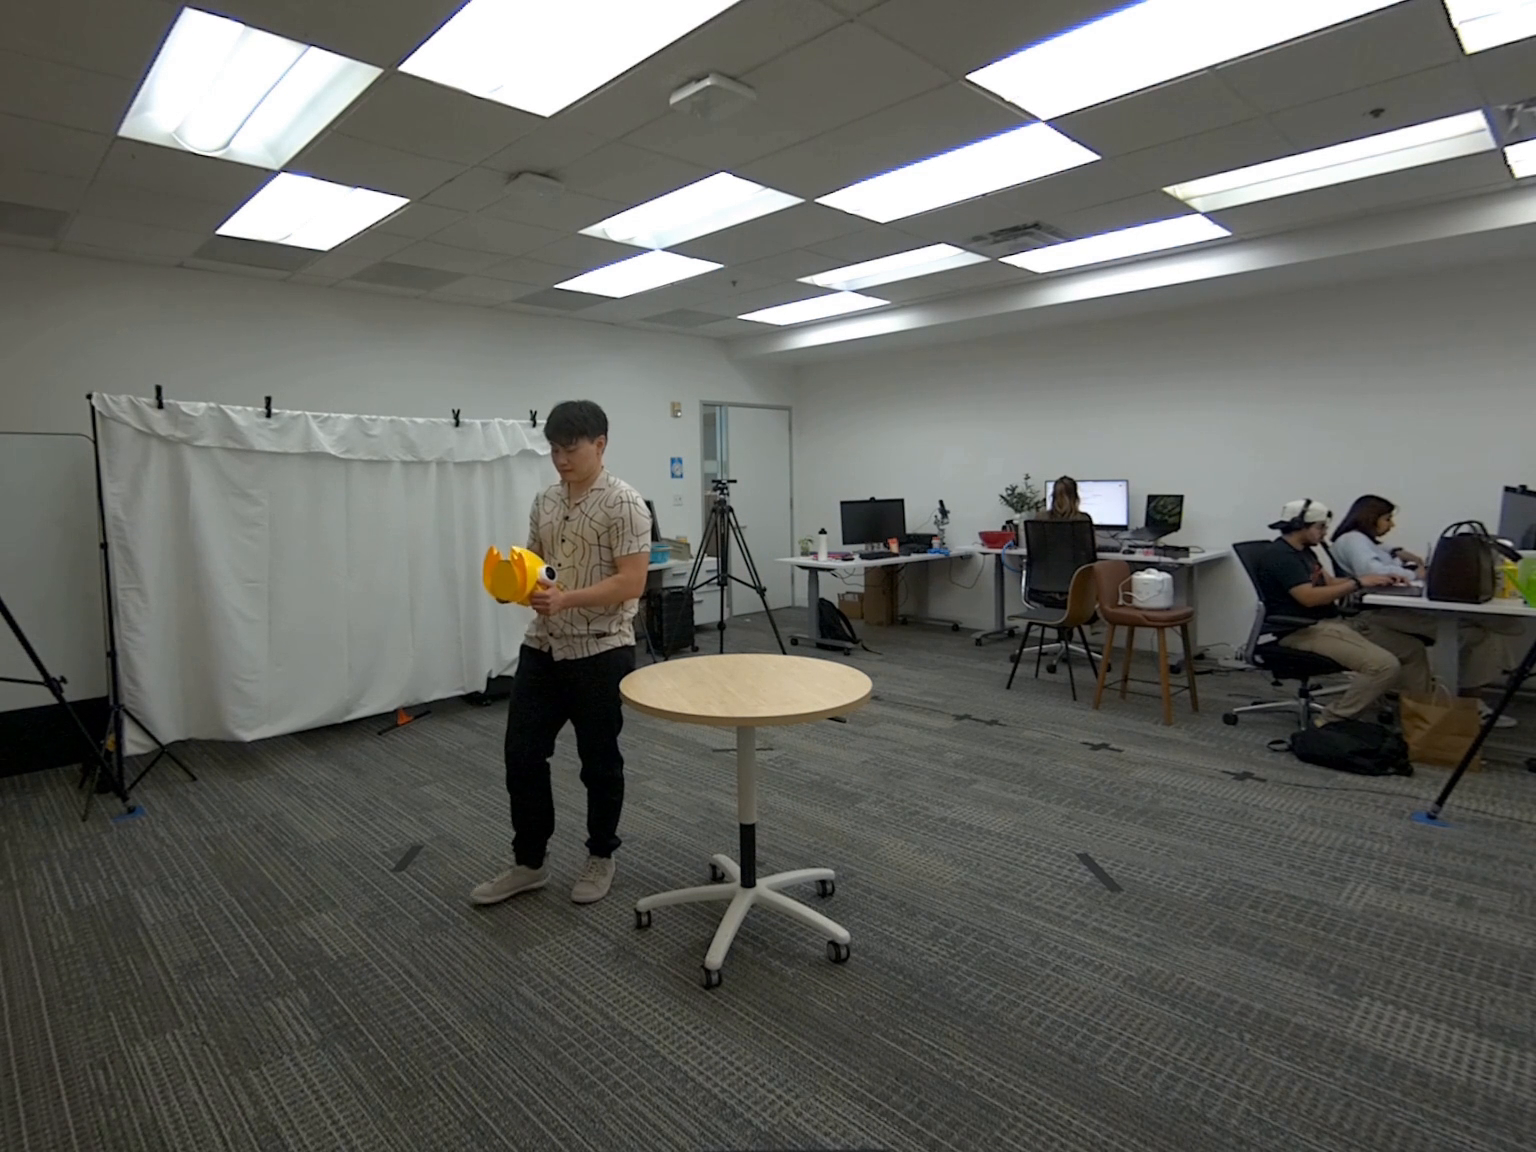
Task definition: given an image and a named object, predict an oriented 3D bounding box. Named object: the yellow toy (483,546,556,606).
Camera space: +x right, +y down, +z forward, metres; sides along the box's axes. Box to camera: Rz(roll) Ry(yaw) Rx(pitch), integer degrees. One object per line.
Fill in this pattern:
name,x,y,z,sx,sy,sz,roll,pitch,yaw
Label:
yellow toy,-0.761,0.000,2.710,0.211,0.192,0.225,12,10,32
